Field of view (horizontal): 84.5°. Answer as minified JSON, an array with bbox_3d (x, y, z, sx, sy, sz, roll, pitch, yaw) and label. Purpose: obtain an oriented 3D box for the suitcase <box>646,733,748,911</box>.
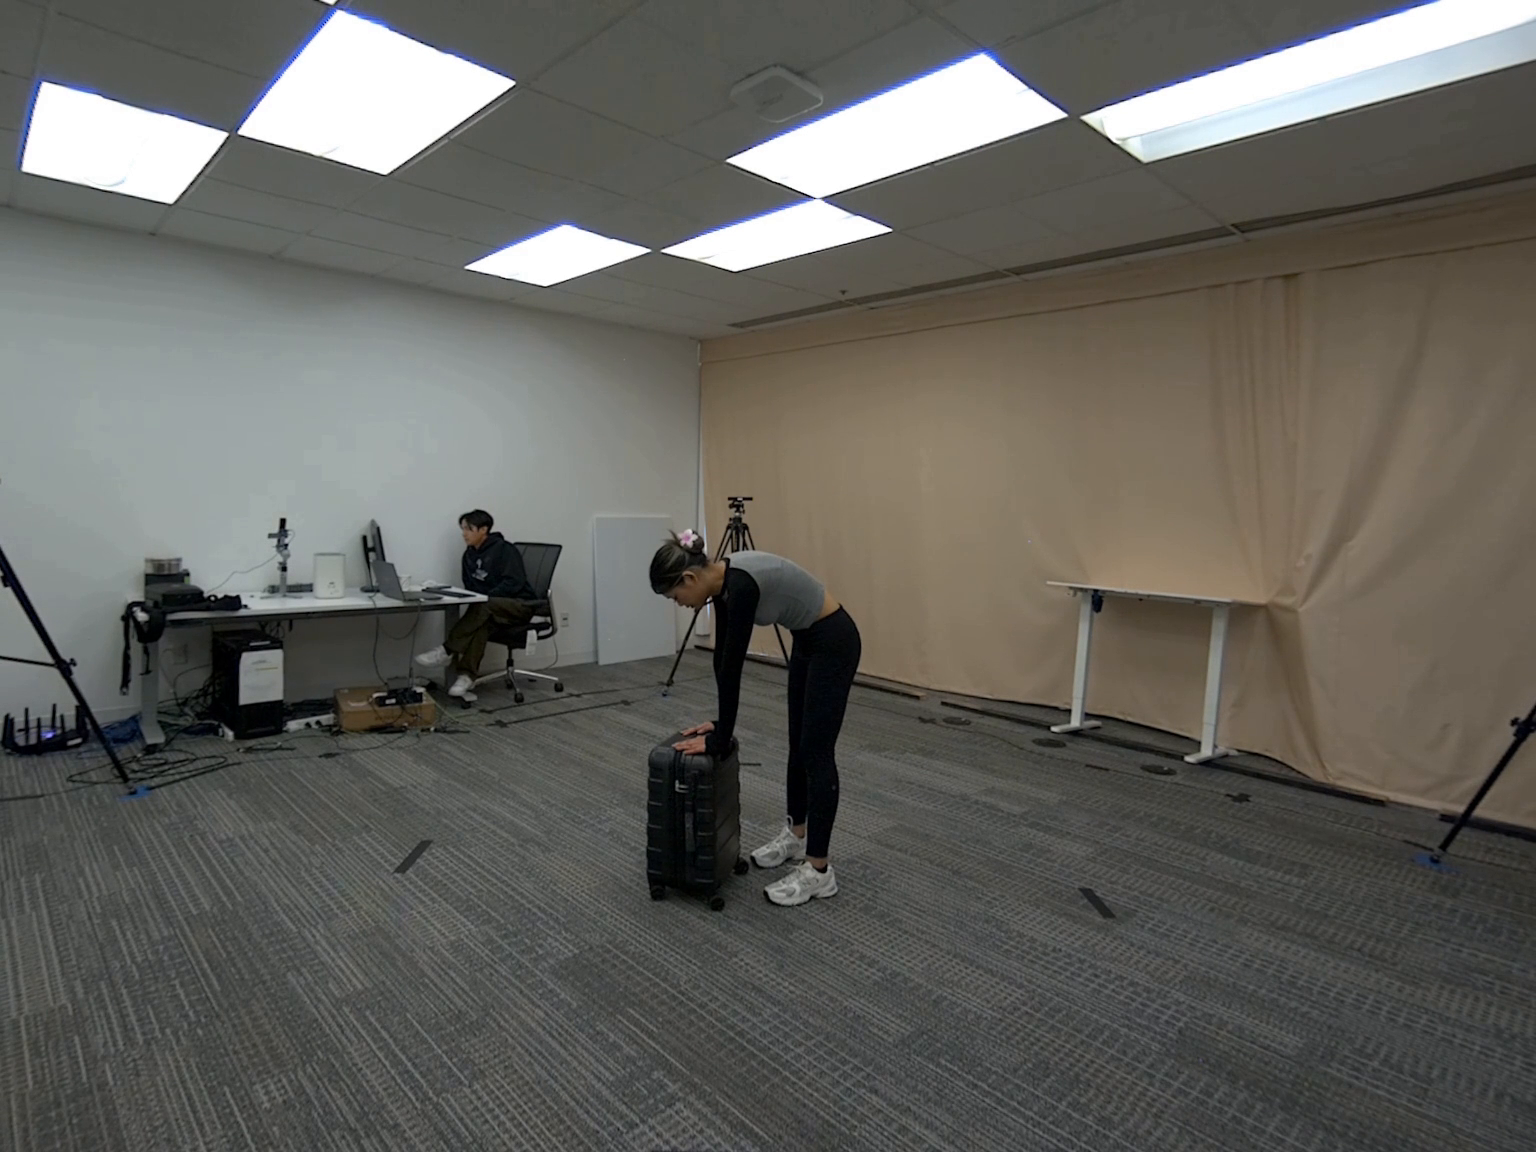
[{"bbox_3d":[-0.261,0.840,3.005,0.252,0.548,0.371,1,4,18],"label":"suitcase"}]
